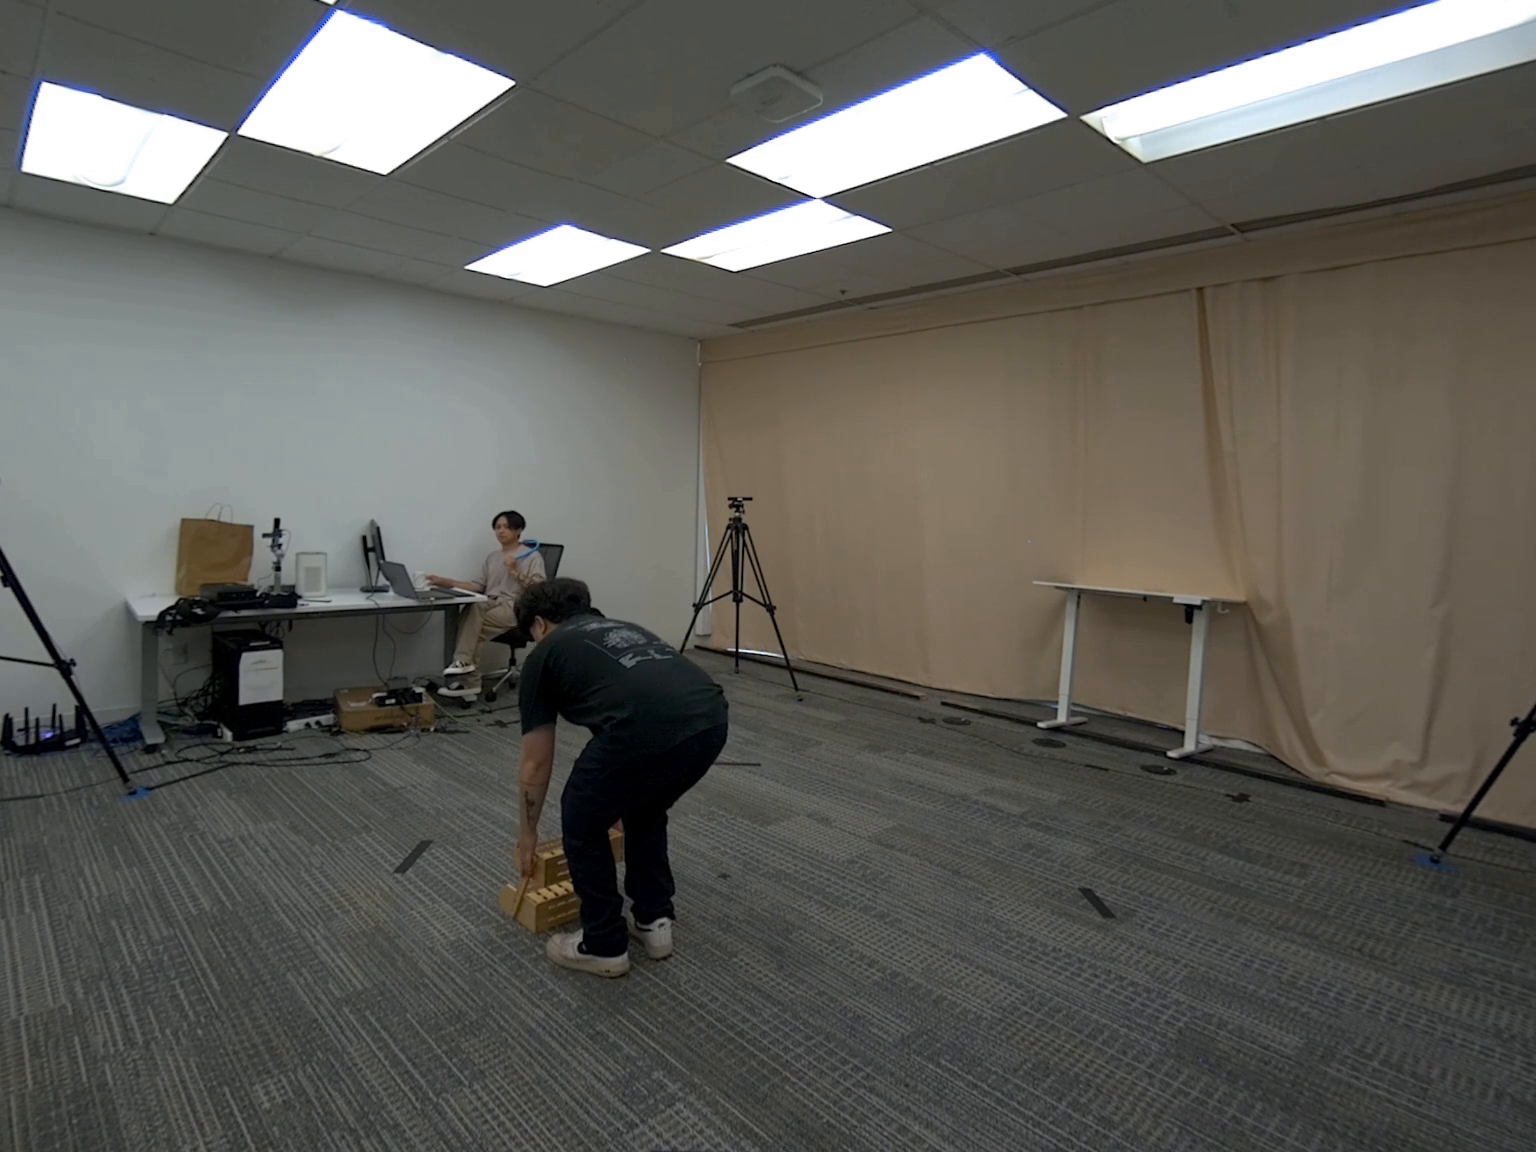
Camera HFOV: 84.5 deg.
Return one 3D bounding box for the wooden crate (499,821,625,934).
[{"bbox_3d":[-0.699,0.981,2.834,0.317,0.272,0.310,-3,7,-45],"label":"wooden crate"}]
